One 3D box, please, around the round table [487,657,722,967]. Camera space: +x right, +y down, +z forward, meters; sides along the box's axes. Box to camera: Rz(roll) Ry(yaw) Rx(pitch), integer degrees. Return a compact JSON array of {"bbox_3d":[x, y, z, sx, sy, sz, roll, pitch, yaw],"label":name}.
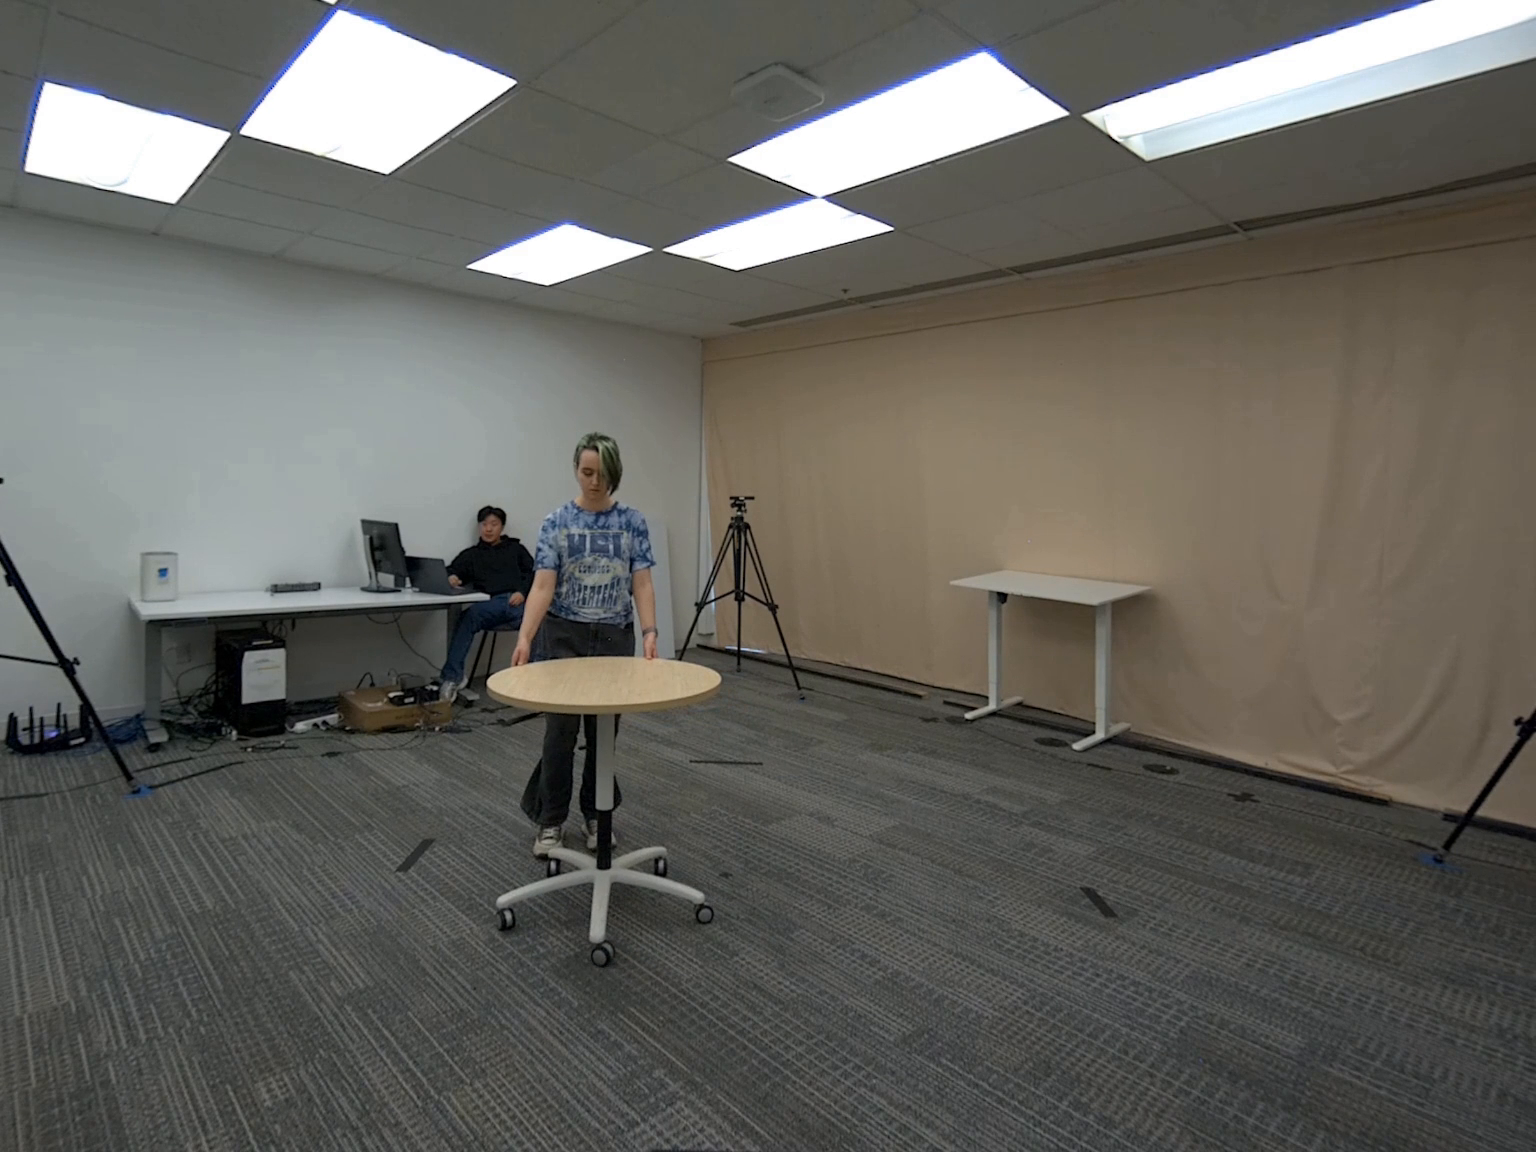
[{"bbox_3d":[-0.544,0.732,2.812,0.763,0.792,0.766,1,4,-1],"label":"round table"}]
